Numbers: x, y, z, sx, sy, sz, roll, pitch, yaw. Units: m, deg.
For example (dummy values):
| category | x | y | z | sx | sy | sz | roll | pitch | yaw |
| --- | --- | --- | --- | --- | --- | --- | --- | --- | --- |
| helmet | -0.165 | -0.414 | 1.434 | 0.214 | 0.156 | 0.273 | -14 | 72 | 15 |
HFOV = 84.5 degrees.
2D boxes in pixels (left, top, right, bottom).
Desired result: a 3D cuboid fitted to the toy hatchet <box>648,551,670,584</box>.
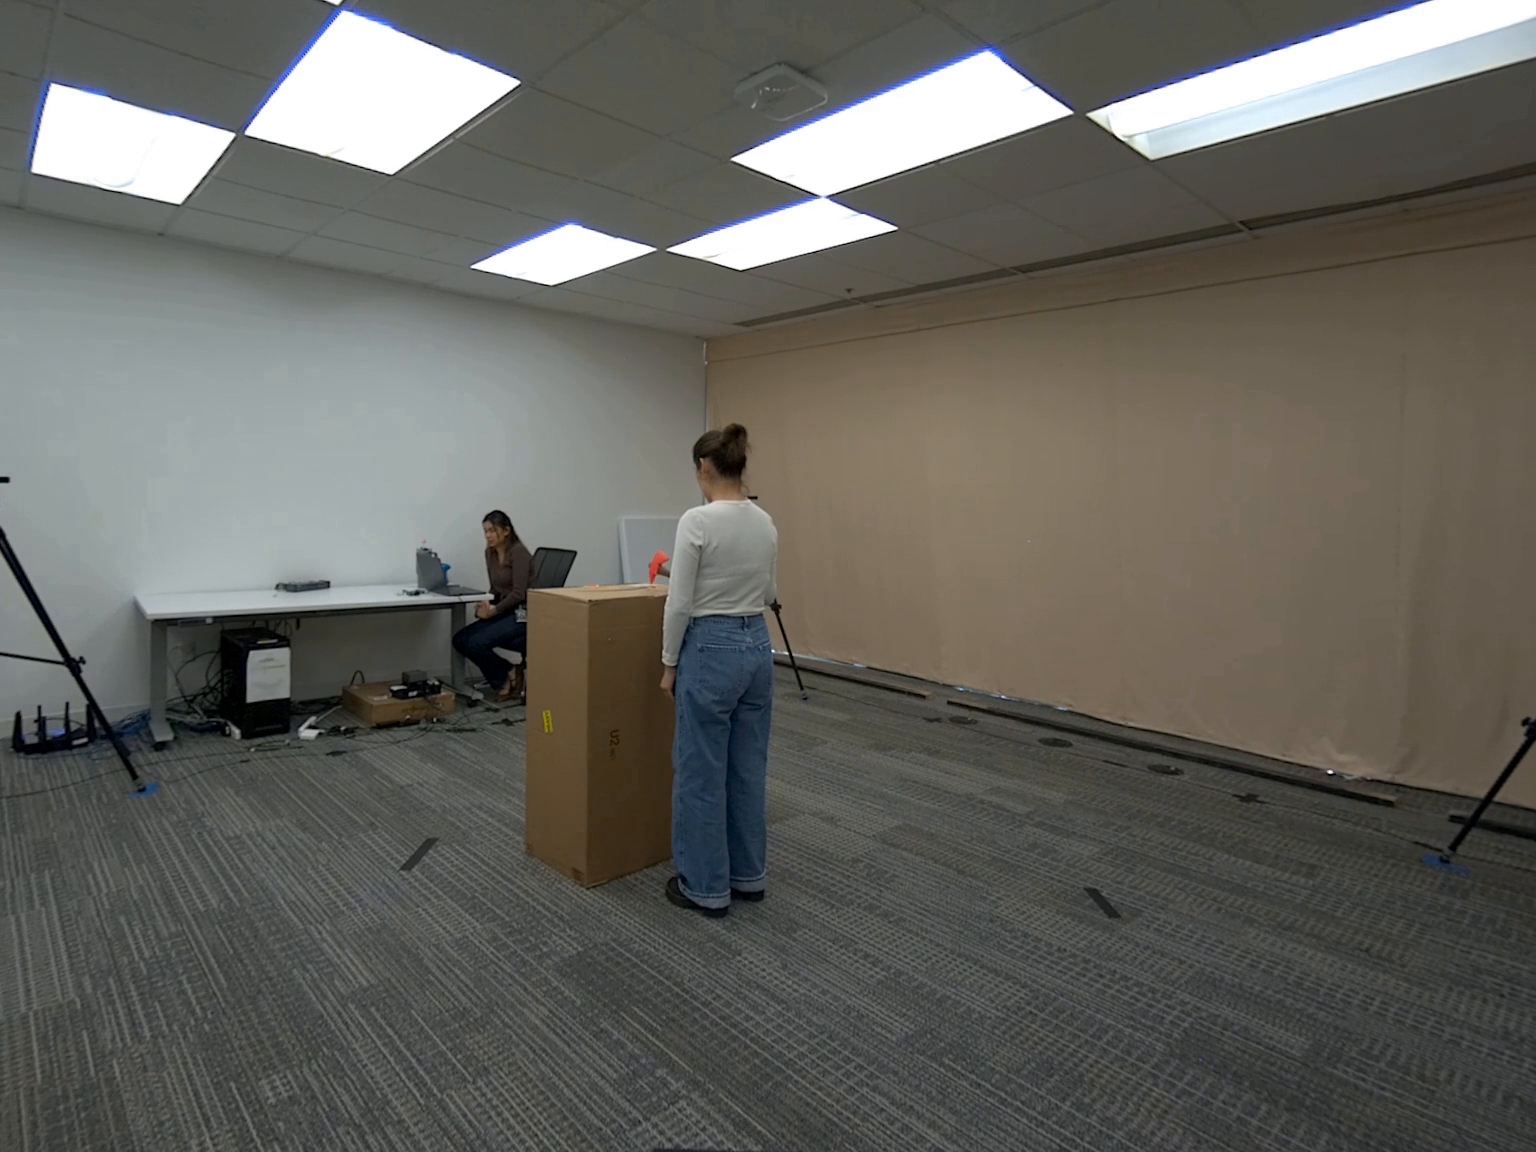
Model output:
| category | x | y | z | sx | sy | sz | roll | pitch | yaw |
| --- | --- | --- | --- | --- | --- | --- | --- | --- | --- |
| toy hatchet | -0.367 | -0.030 | 3.245 | 0.276 | 0.131 | 0.029 | 1 | -5 | 35 |
